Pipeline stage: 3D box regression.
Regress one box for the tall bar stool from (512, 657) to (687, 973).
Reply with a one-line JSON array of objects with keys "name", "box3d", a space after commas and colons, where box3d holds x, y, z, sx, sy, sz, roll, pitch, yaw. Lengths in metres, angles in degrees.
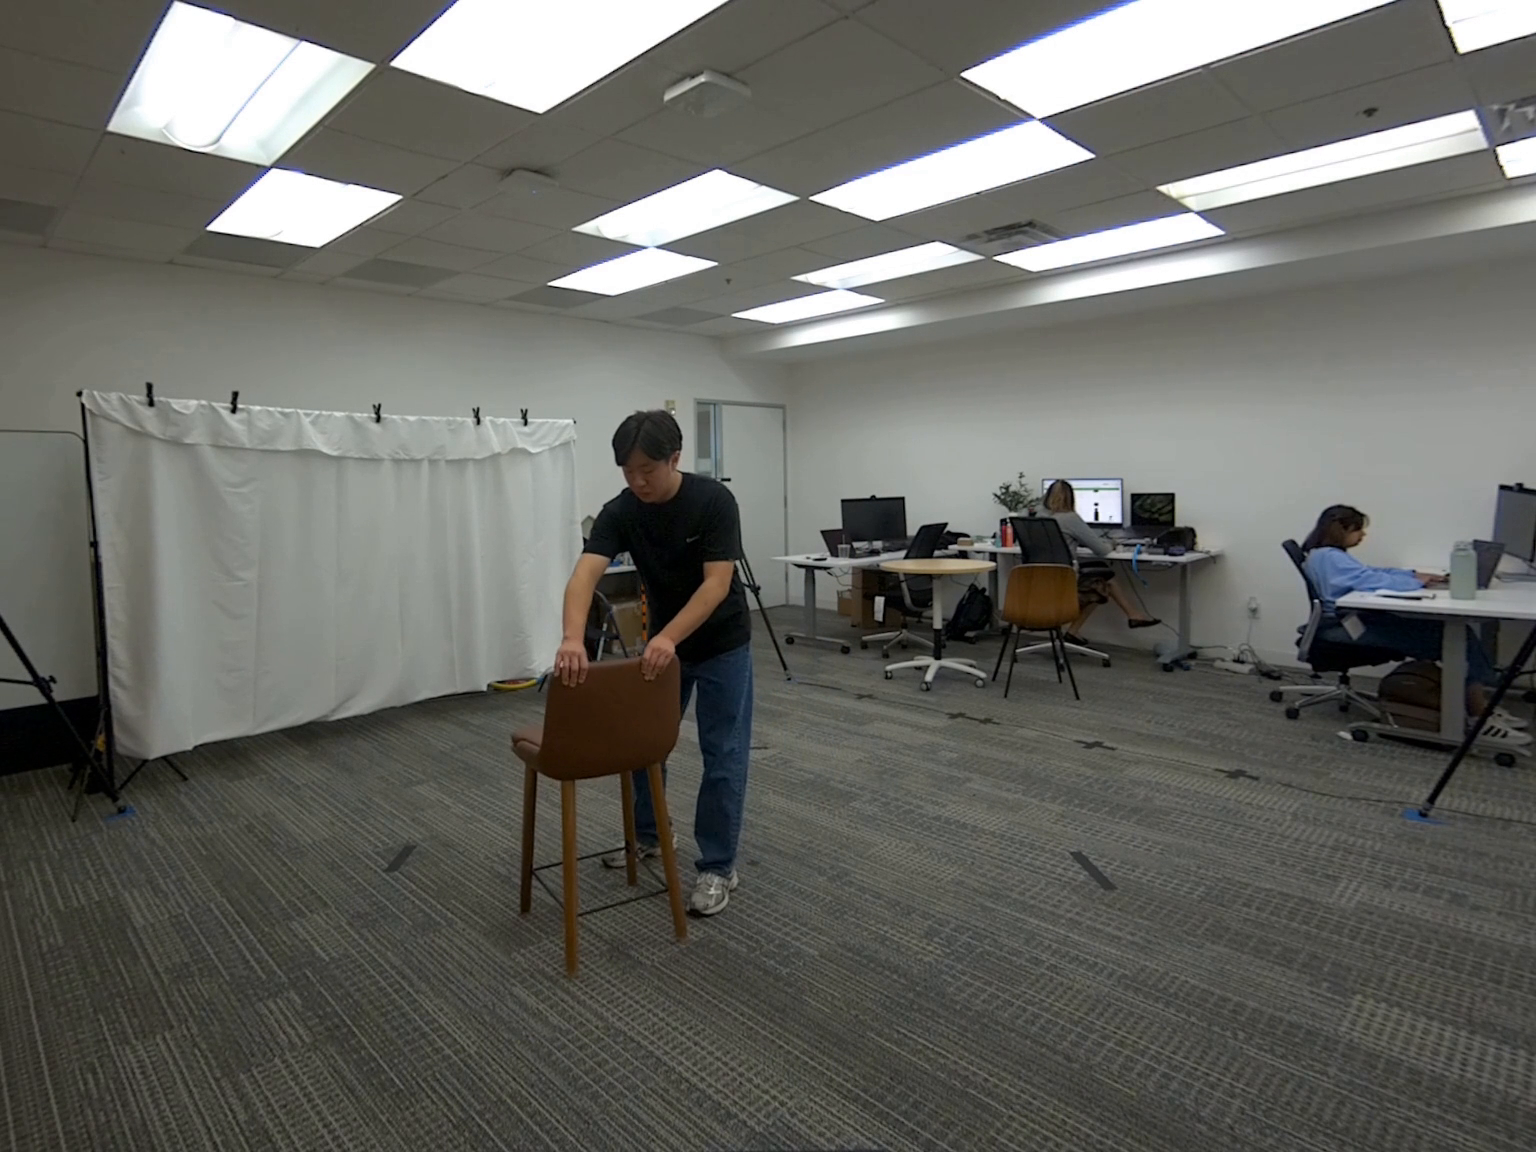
[{"name": "tall bar stool", "box3d": [-0.530, 0.659, 2.664, 0.446, 0.886, 0.480, -4, 5, -30]}]
